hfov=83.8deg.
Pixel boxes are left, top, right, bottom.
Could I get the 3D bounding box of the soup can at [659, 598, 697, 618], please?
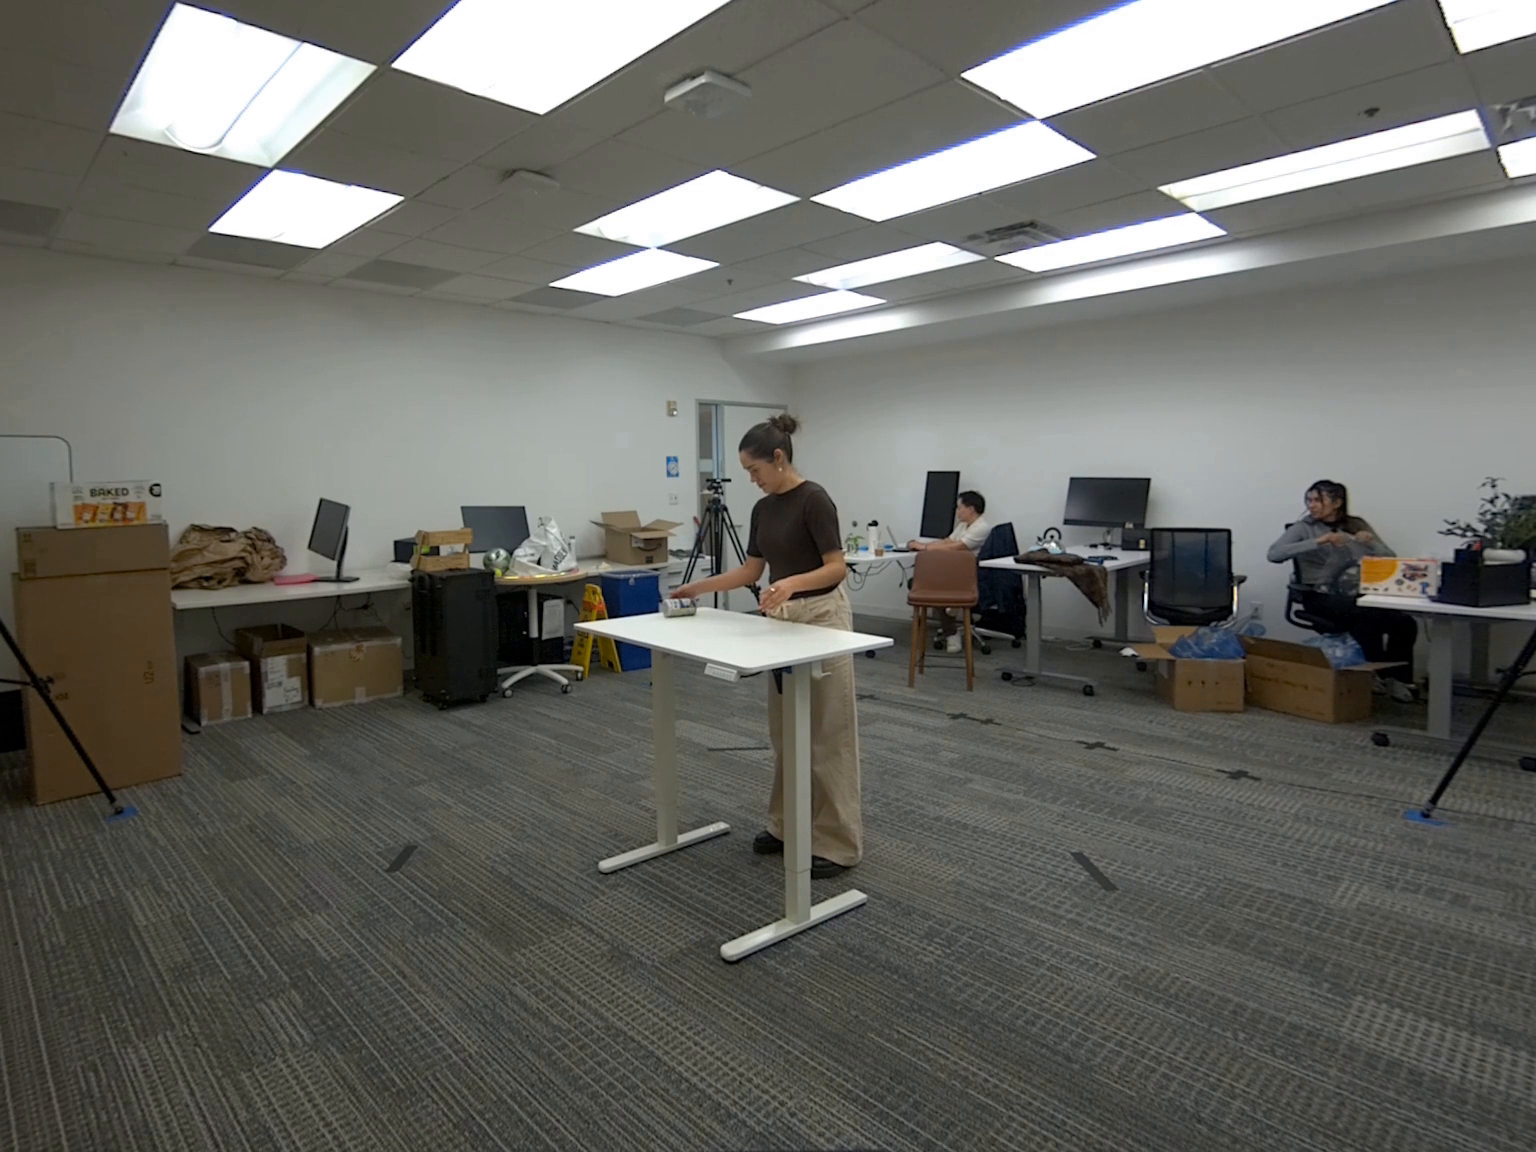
[{"bbox_3d":[-0.334,0.118,3.235,0.120,0.067,0.068,-2,5,-13],"label":"soup can"}]
